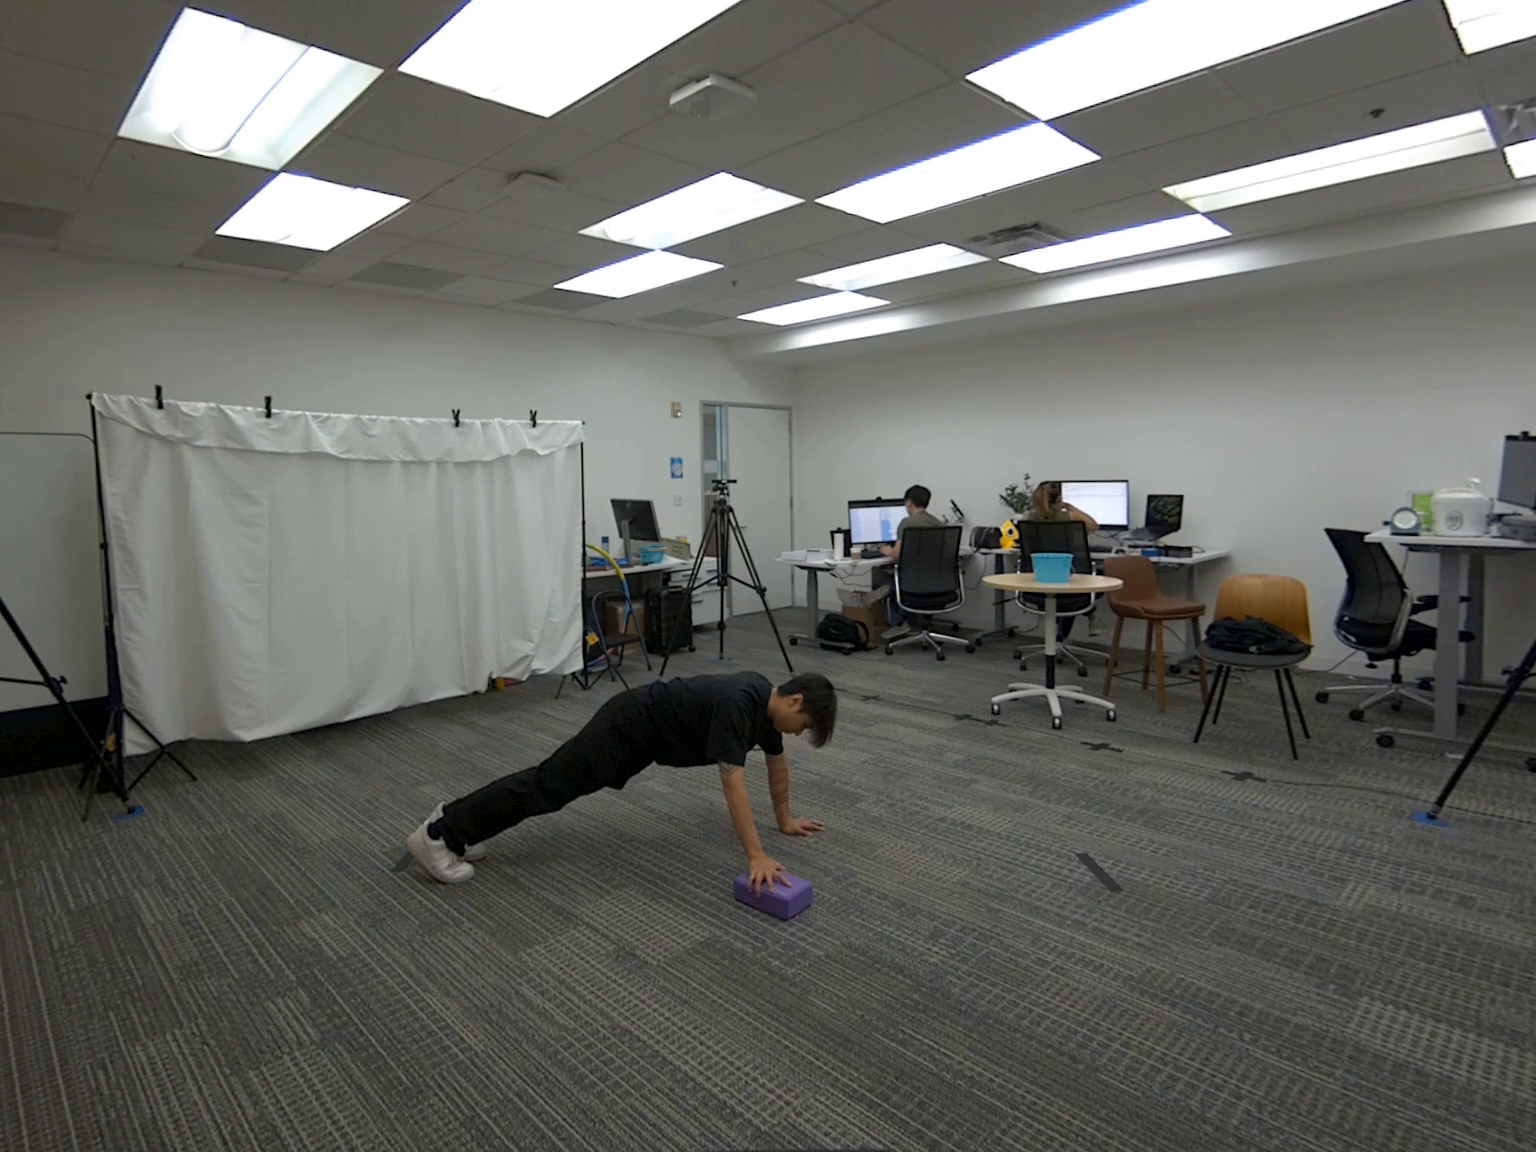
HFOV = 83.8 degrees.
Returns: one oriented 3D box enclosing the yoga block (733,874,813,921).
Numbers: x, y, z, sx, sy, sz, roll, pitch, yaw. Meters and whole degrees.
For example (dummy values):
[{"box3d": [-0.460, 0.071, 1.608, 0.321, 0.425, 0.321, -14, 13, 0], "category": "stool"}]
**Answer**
[{"box3d": [0.018, 1.042, 2.819, 0.236, 0.076, 0.145, 4, 9, 40], "category": "yoga block"}]
